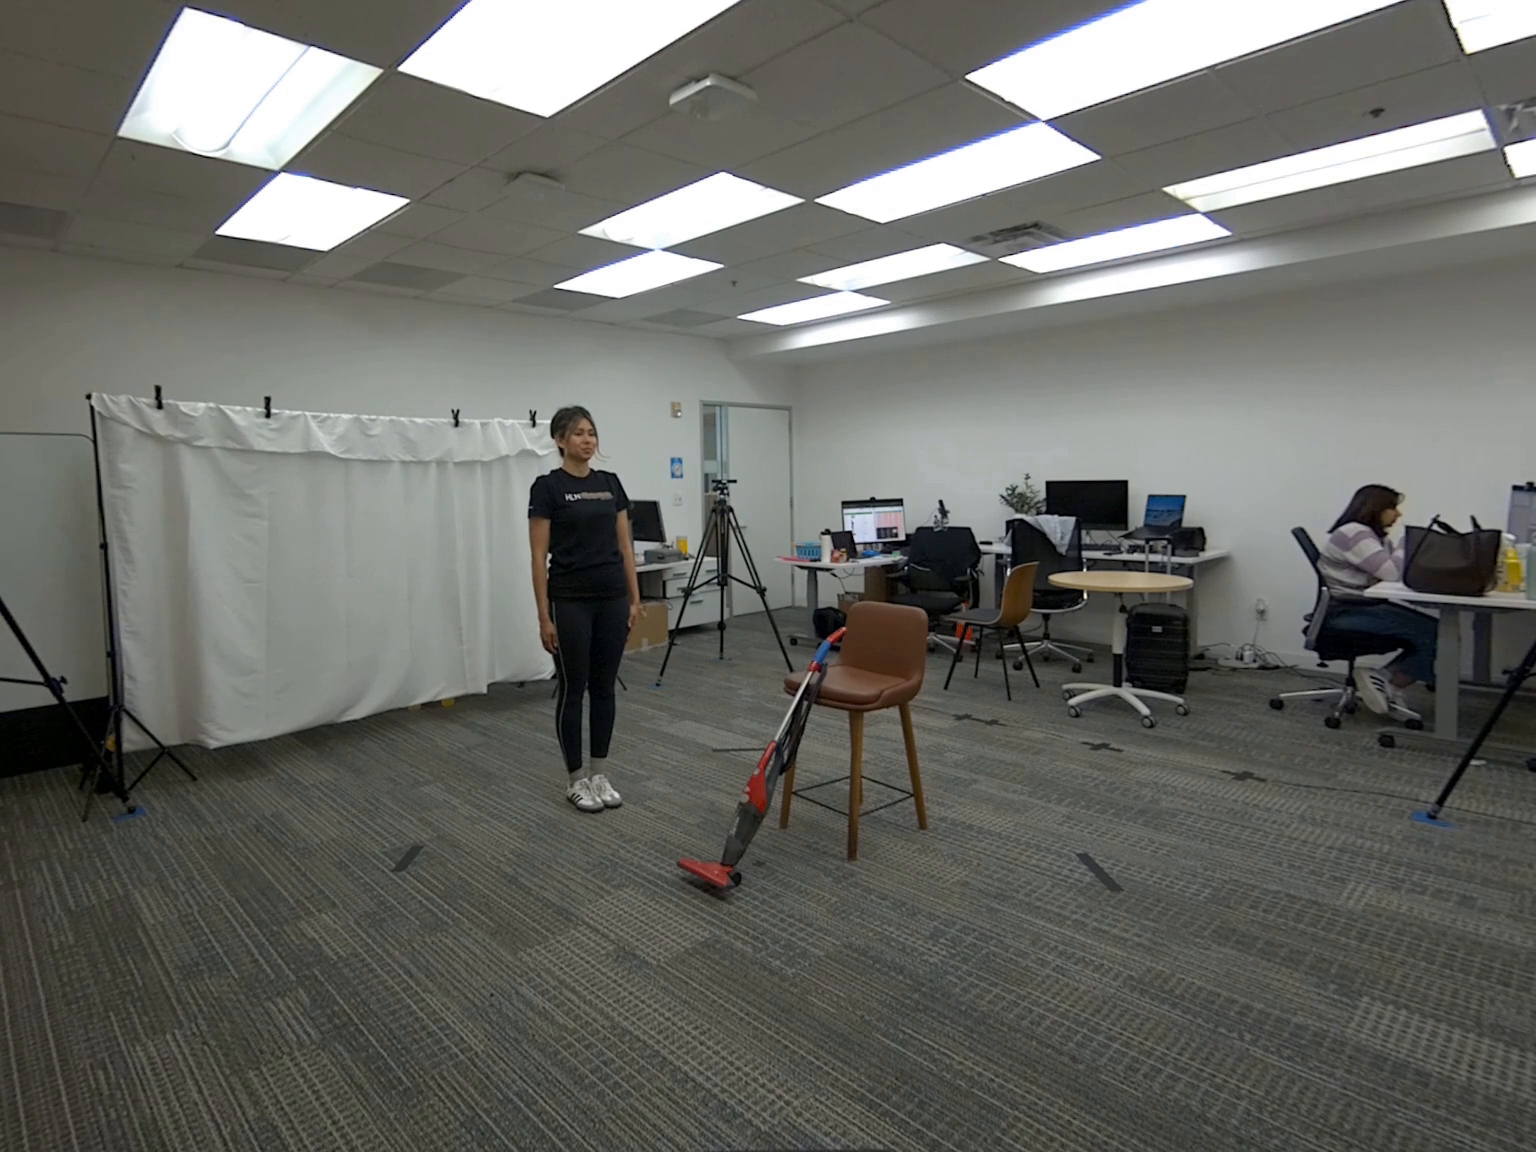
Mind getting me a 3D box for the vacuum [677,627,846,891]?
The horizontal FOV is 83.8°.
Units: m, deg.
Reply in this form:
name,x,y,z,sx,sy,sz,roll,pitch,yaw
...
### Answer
name,x,y,z,sx,sy,sz,roll,pitch,yaw
vacuum,0.050,0.634,3.148,0.260,1.055,0.138,6,-33,44
